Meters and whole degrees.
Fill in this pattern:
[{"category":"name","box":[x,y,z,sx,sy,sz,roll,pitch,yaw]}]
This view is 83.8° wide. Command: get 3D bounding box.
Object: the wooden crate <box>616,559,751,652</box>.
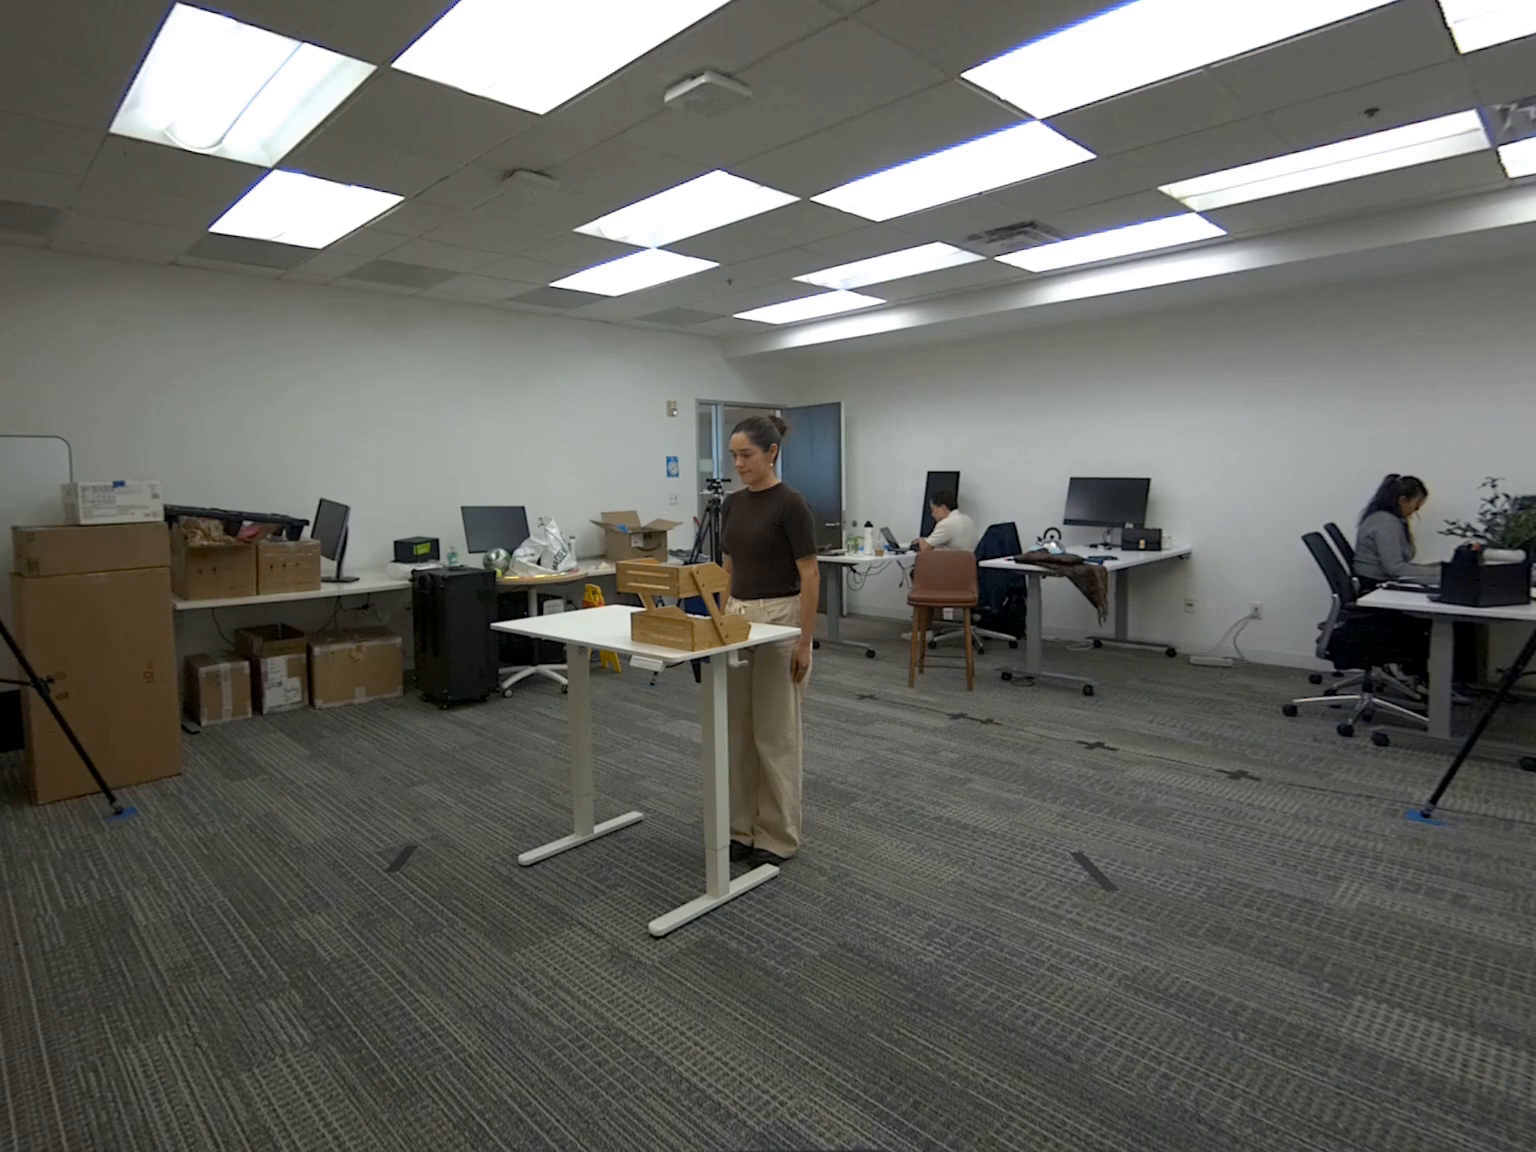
[{"category":"wooden crate","box":[-0.264,0.075,2.709,0.334,0.272,0.294,3,8,43]}]
